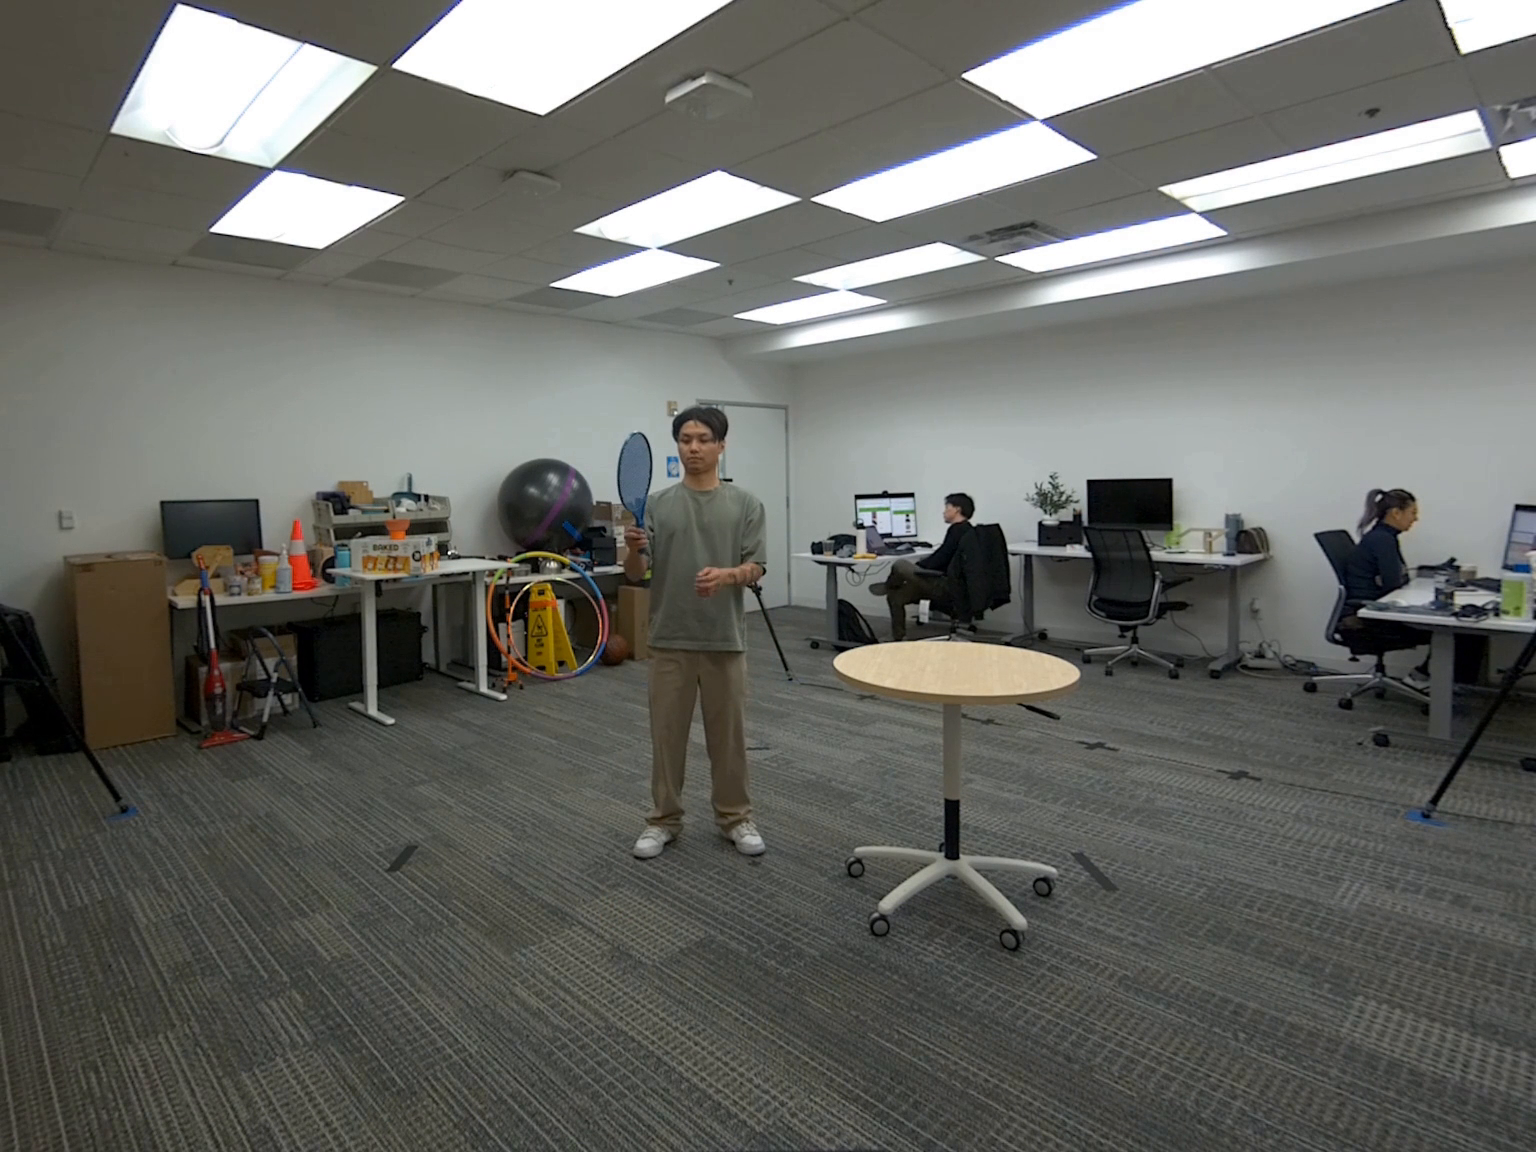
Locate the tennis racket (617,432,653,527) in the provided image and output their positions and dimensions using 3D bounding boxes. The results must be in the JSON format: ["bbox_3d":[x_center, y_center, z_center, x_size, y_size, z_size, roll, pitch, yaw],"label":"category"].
[{"bbox_3d":[-0.419,-0.265,2.765,0.032,0.421,0.215,10,36,18],"label":"tennis racket"}]
